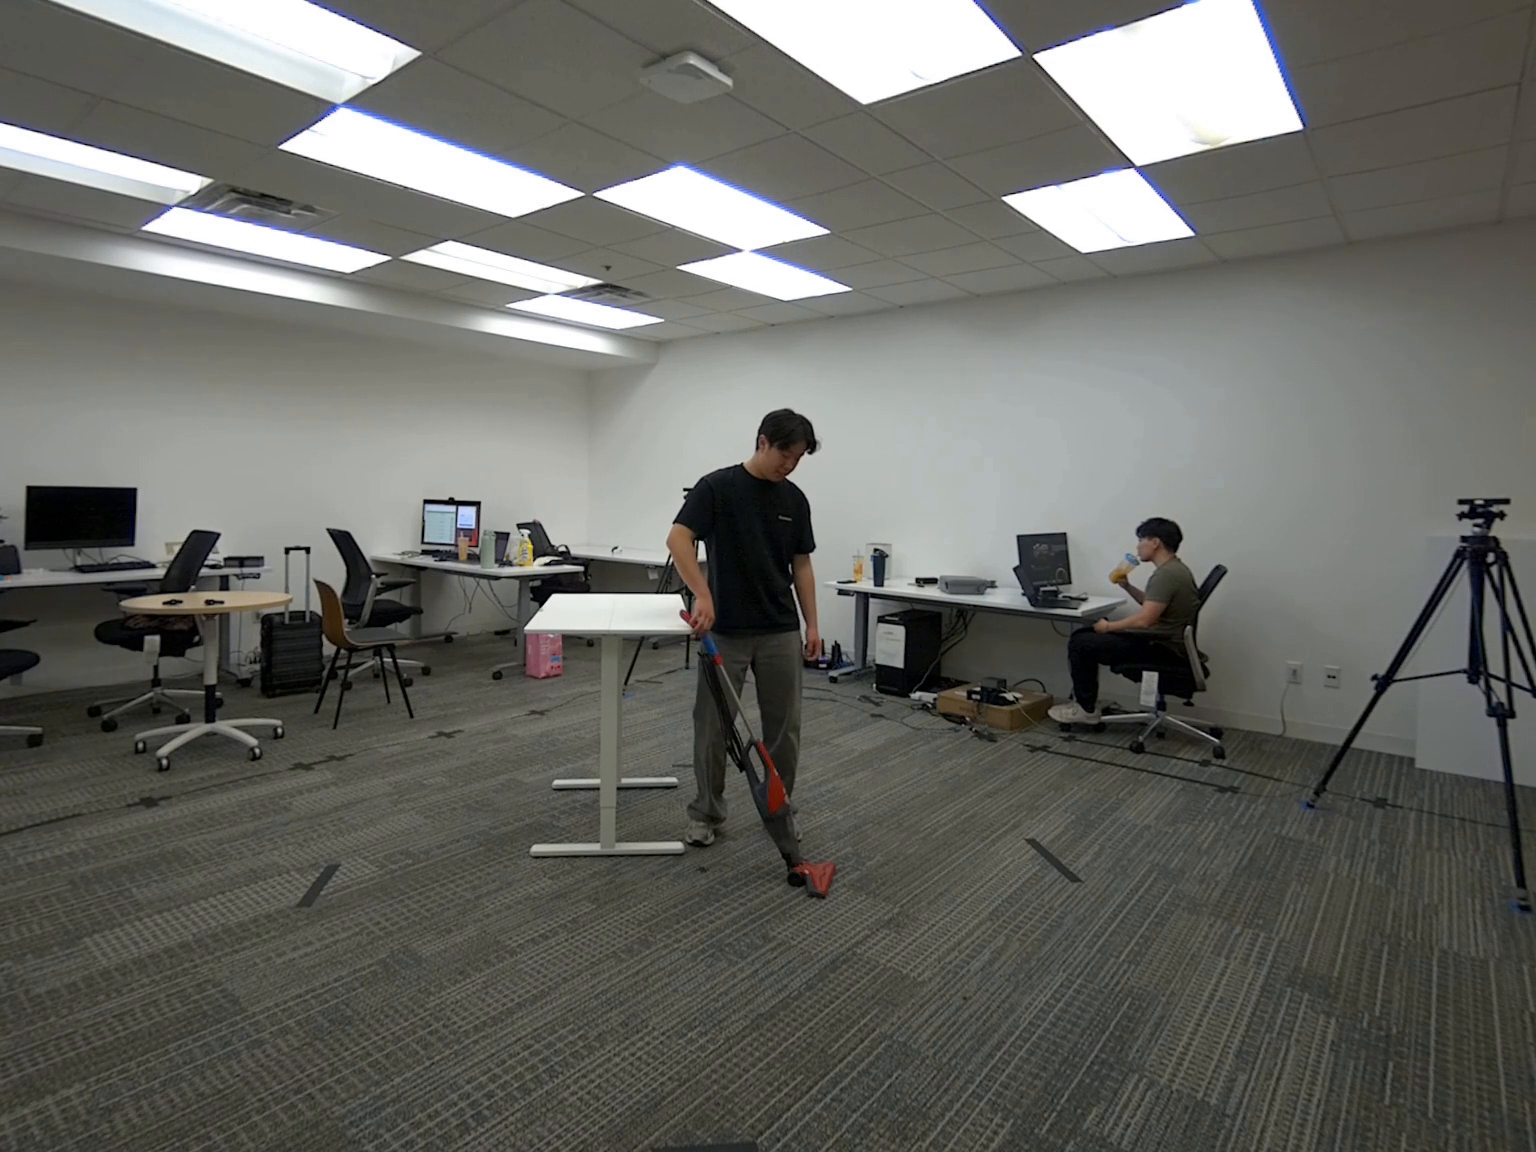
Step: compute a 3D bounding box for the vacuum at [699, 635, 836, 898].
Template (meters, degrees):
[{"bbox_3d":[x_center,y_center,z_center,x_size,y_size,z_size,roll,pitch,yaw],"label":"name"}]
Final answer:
[{"bbox_3d":[-0.079,0.612,3.086,0.145,1.059,0.248,-29,-7,23],"label":"vacuum"}]
